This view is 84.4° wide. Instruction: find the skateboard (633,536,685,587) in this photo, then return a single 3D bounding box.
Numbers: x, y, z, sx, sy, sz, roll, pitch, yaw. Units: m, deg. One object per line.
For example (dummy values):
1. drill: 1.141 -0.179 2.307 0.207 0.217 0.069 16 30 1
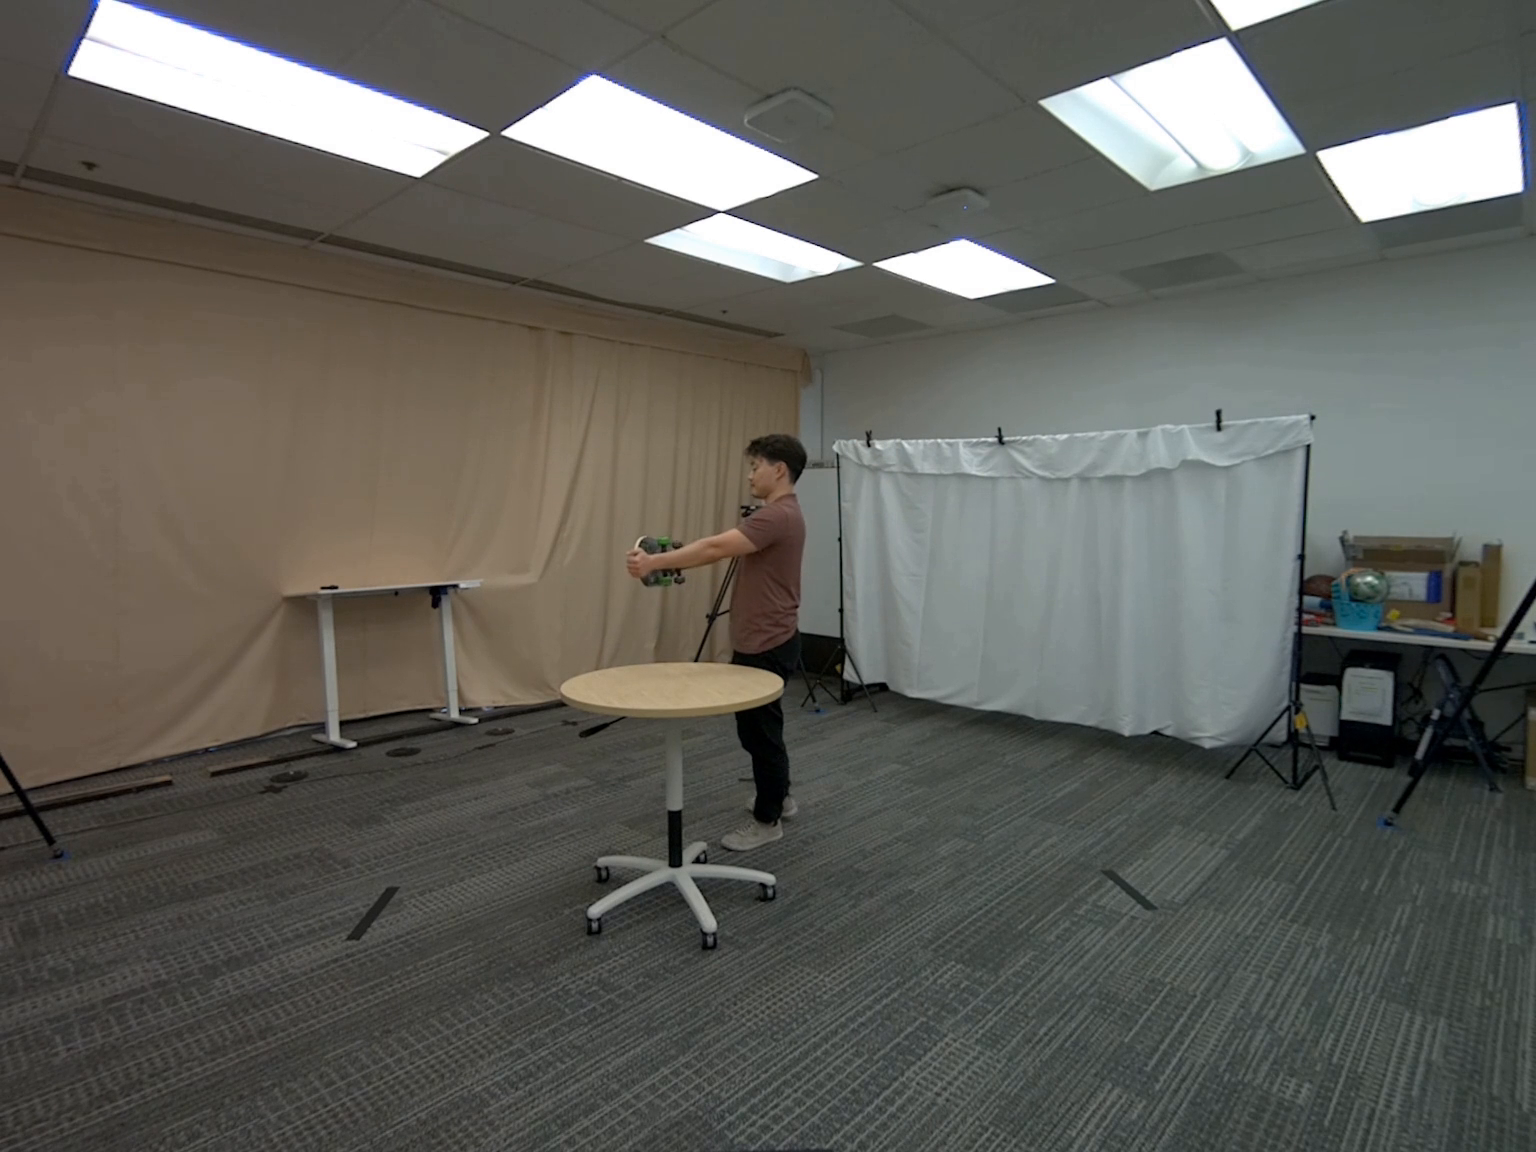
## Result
1. skateboard: -0.420 -0.051 3.444 0.111 0.193 0.780 2 0 4
